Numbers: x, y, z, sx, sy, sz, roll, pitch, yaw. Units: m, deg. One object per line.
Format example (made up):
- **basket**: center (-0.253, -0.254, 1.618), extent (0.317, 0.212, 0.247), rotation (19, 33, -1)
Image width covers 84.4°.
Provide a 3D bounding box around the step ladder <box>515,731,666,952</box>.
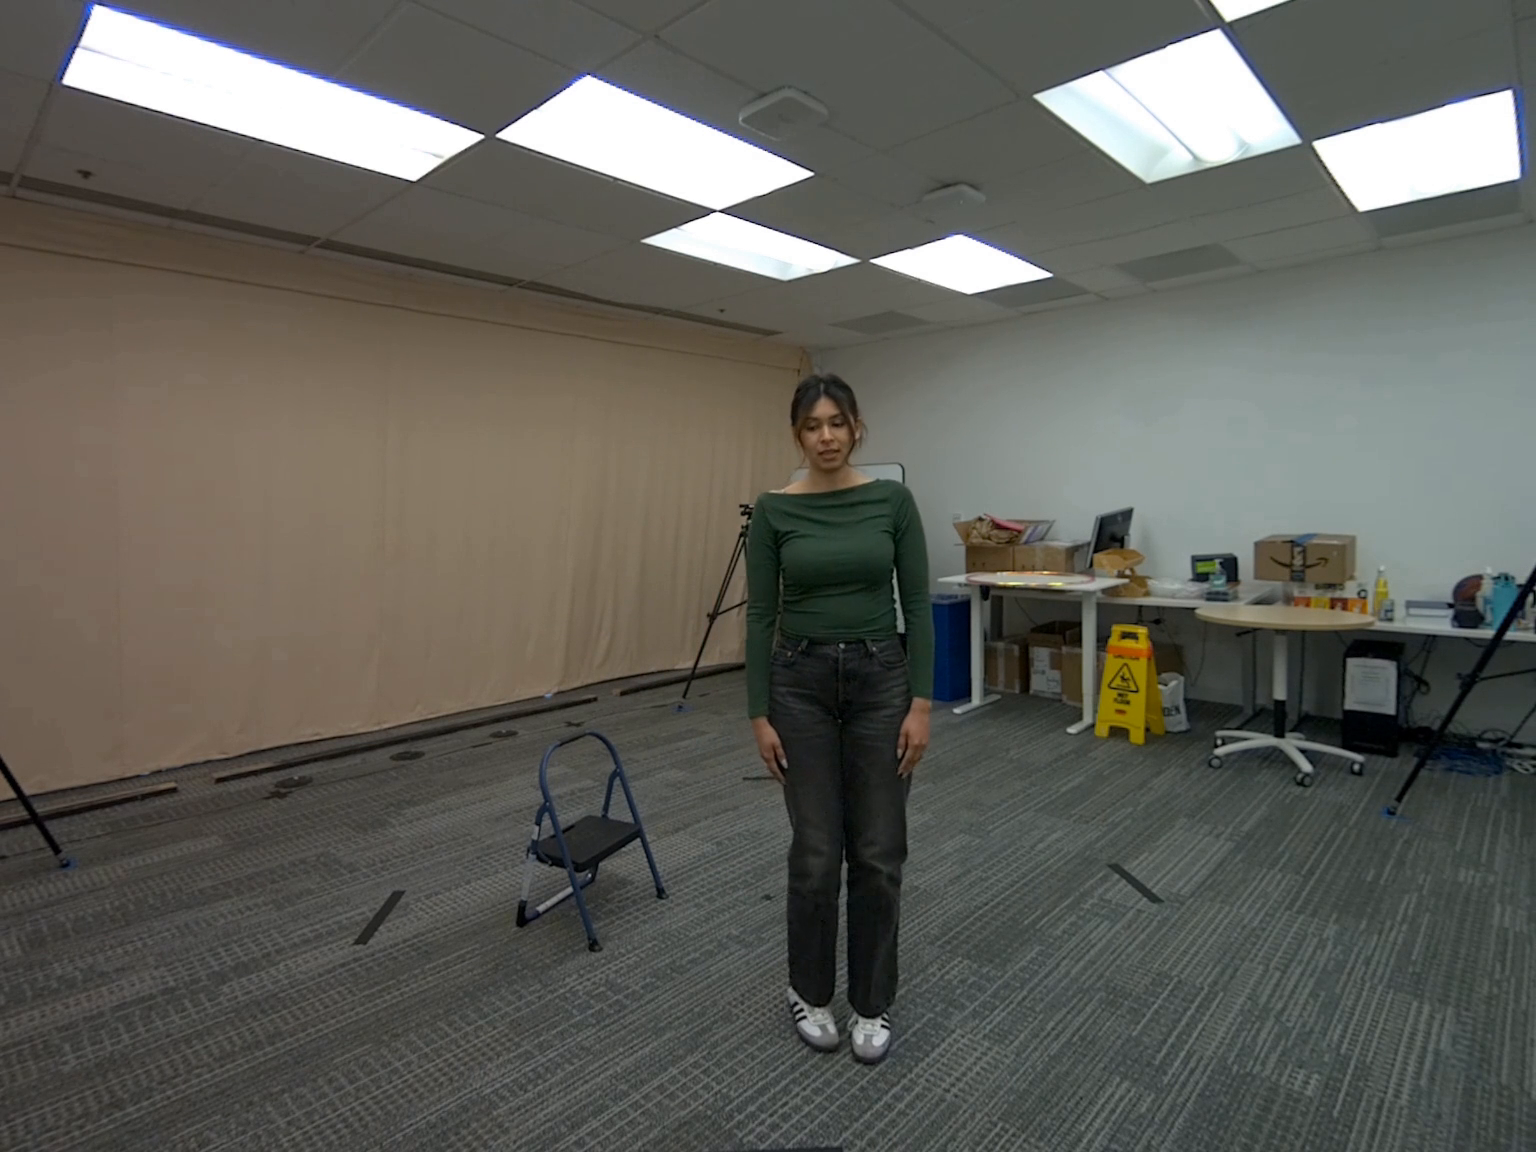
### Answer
- **step ladder**: center (-0.604, 0.857, 2.893), extent (0.359, 0.605, 0.420), rotation (0, 3, 27)
